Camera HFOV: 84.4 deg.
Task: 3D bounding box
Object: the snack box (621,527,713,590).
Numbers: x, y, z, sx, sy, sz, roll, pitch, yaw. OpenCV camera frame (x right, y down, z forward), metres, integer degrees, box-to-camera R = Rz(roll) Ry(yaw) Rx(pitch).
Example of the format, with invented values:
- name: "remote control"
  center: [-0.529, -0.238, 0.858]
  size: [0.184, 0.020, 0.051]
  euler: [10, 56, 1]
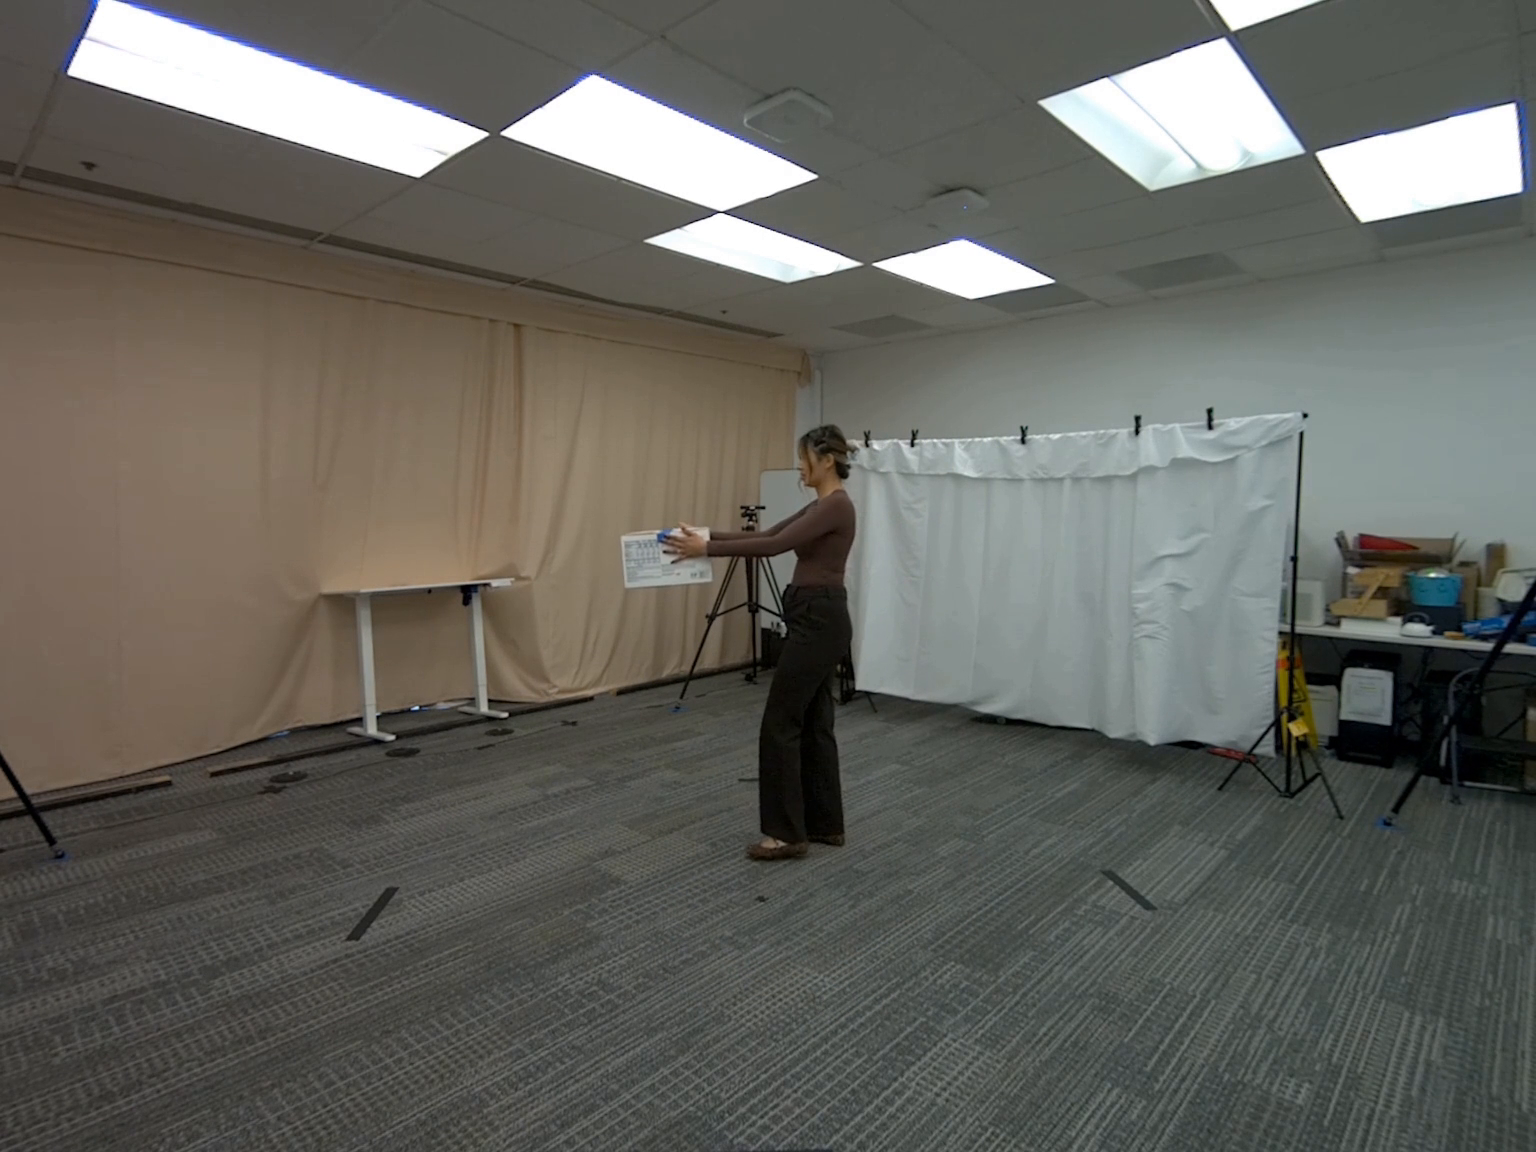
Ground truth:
- name: "snack box"
  center: [-0.398, -0.077, 3.425]
  size: [0.340, 0.205, 0.406]
  euler: [-4, 4, -2]
